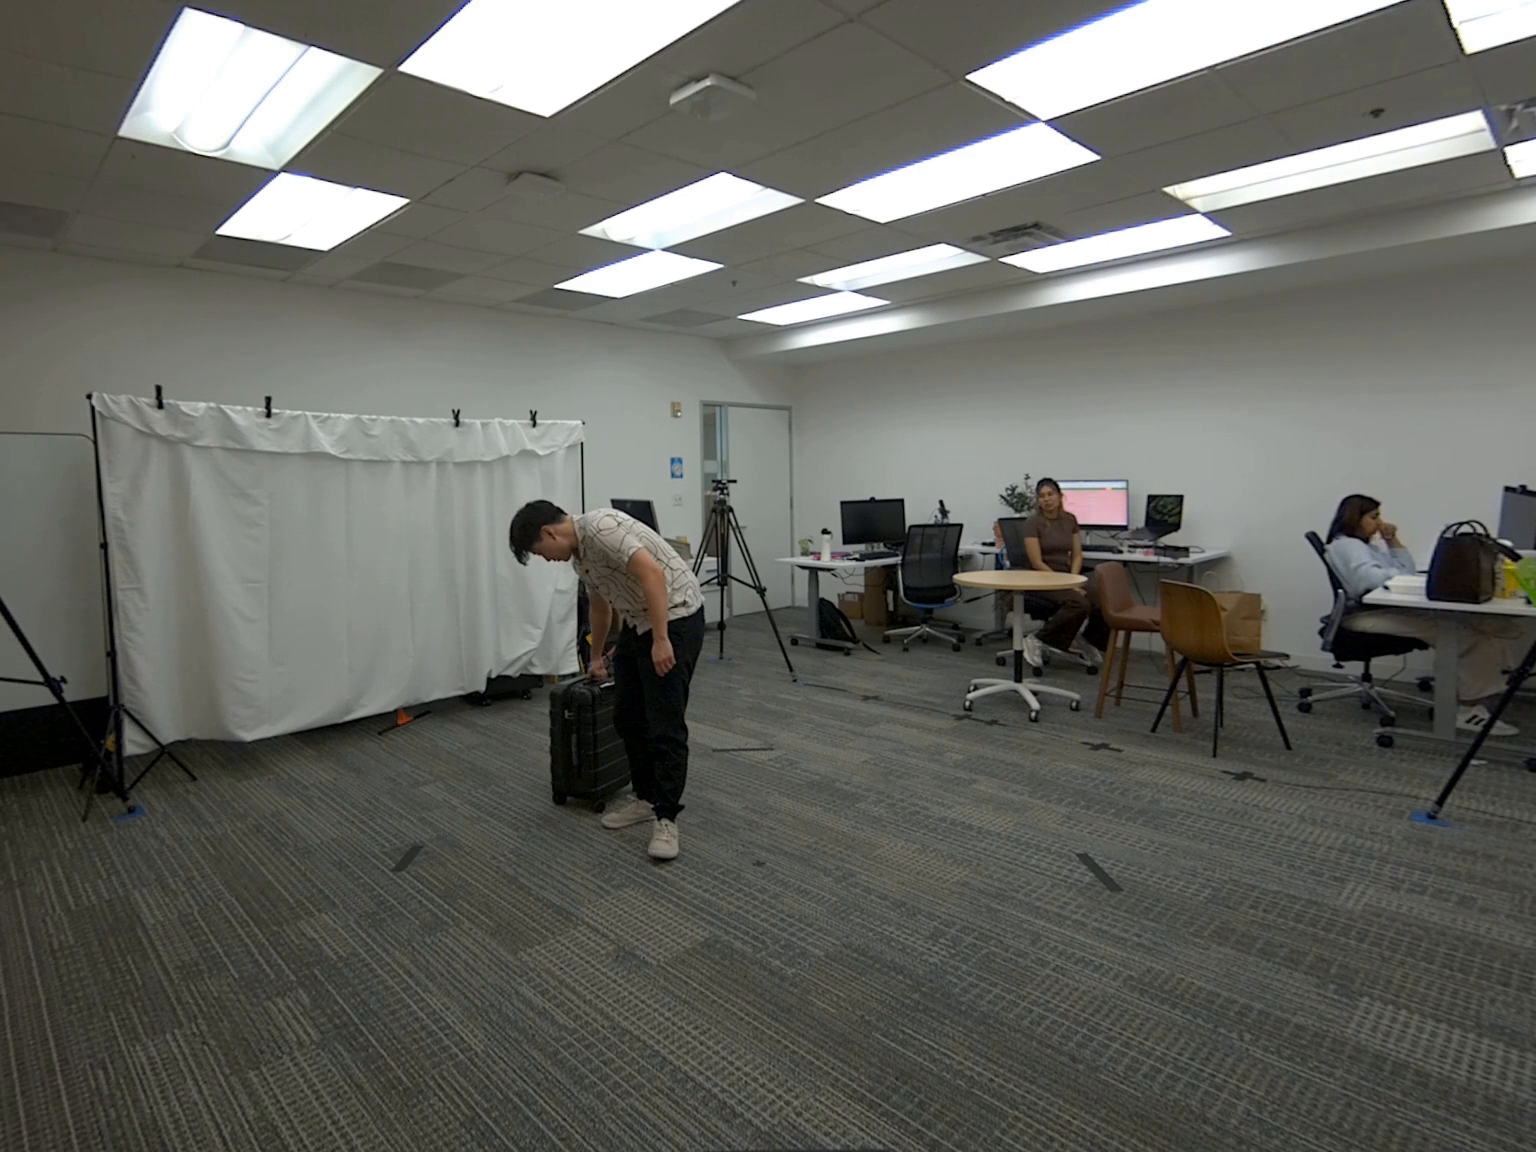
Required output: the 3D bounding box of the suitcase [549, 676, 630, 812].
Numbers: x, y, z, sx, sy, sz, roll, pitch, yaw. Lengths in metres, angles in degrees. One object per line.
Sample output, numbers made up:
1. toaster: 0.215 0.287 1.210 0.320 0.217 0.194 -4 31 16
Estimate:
1. suitcase: -0.775 0.713 3.787 0.255 0.547 0.367 0 5 30
